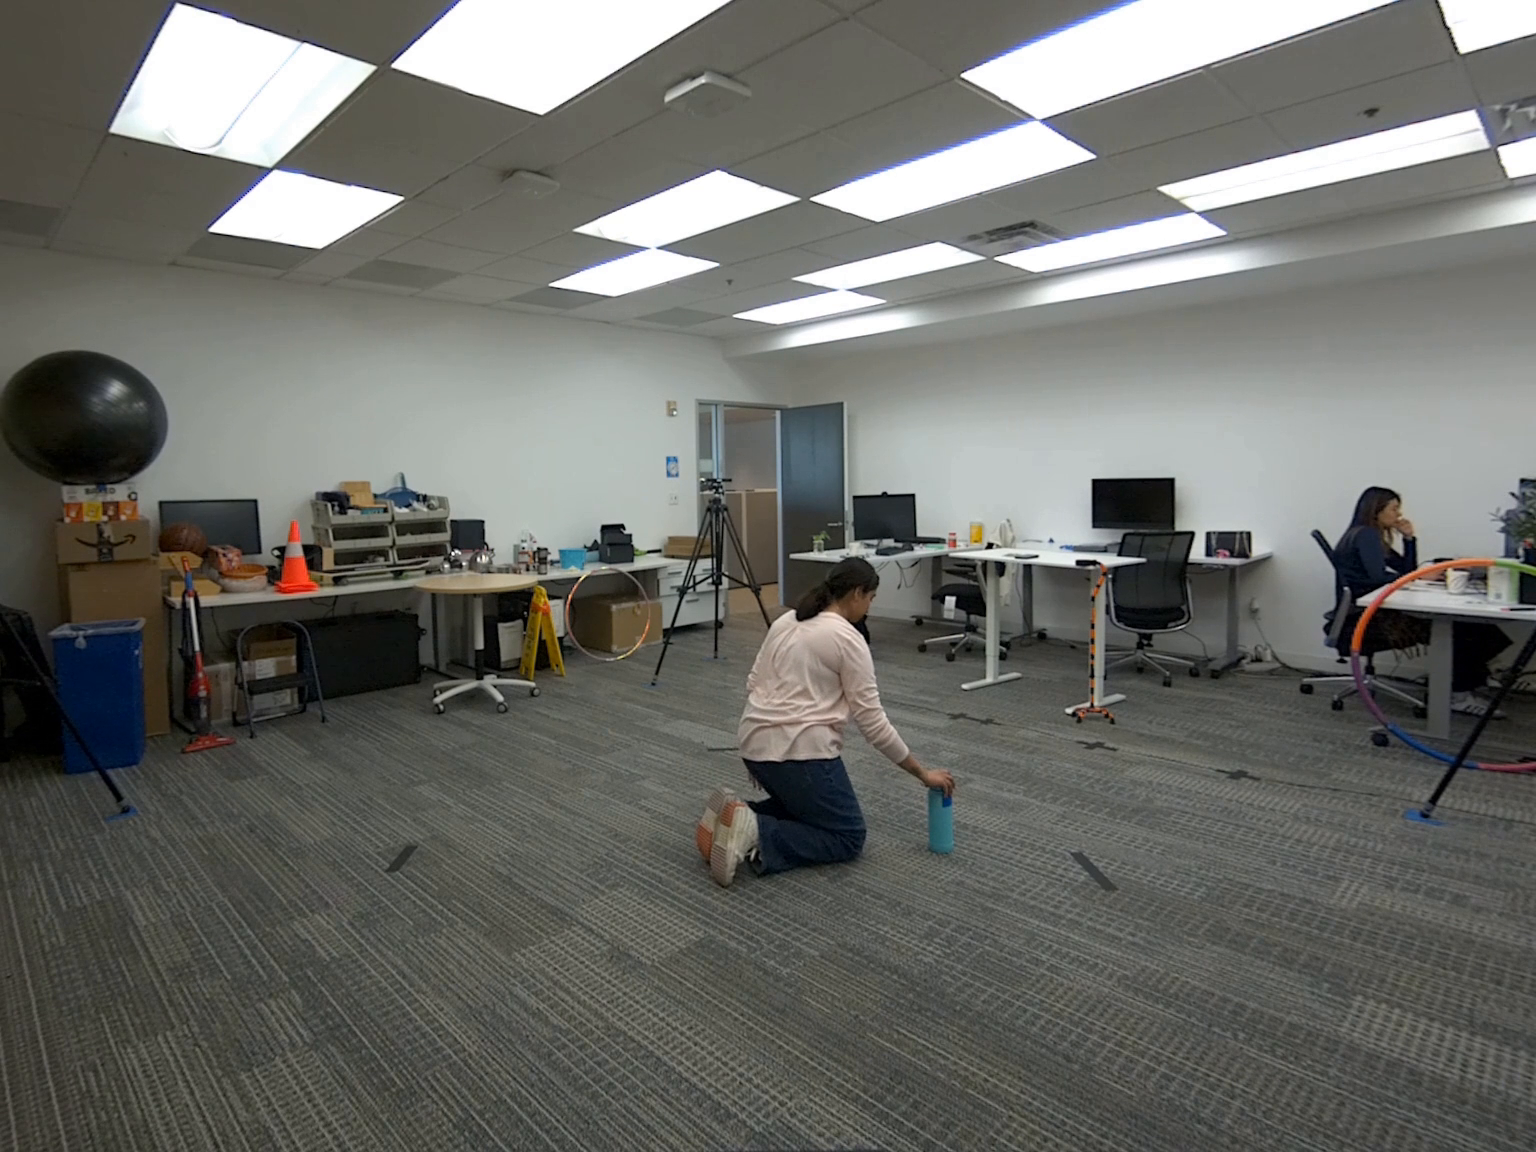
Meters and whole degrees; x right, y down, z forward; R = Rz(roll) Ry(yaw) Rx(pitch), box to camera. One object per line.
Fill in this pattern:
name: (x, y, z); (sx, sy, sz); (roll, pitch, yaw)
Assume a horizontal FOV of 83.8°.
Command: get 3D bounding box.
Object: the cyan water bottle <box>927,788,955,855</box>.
cyan water bottle: (0.643, 0.875, 3.190); (0.092, 0.283, 0.092); (-1, 3, -2)
